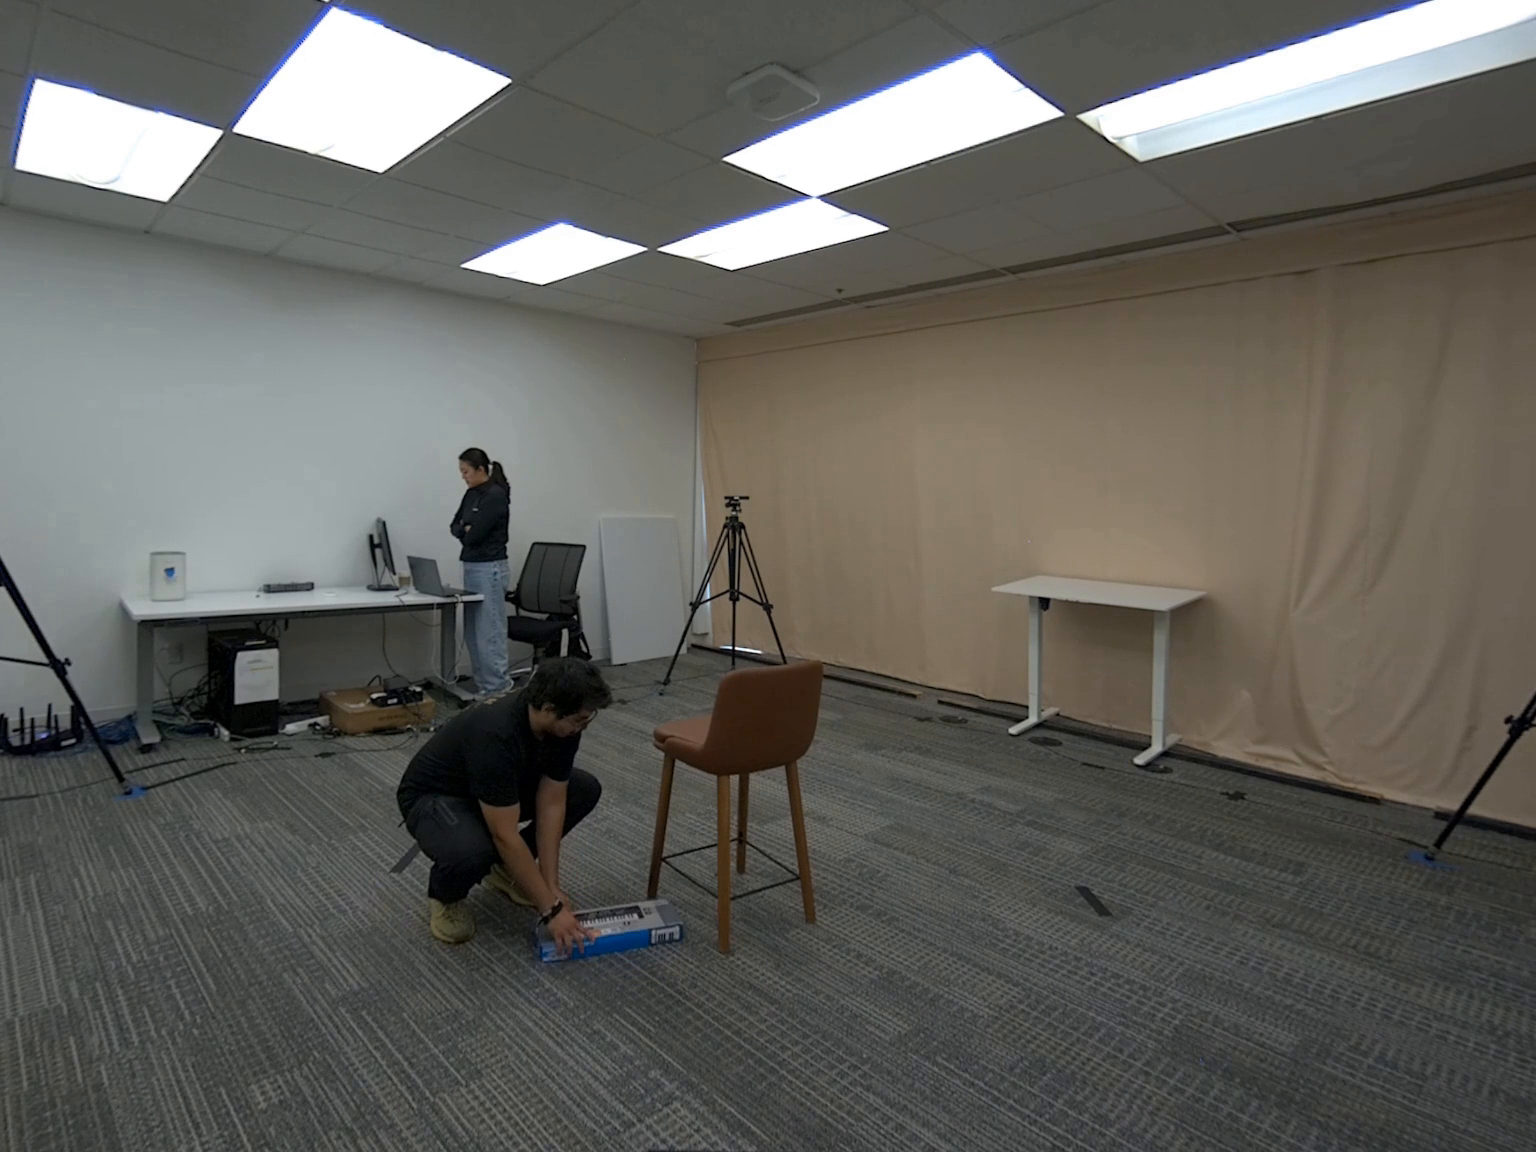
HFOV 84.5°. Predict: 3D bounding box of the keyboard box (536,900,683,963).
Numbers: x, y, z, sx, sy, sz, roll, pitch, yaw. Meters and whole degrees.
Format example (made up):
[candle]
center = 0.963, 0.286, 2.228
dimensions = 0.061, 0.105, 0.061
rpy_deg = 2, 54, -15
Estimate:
[keyboard box]
center = -0.525, 1.121, 2.624
dimensions = 0.430, 0.059, 0.179
rpy_deg = -1, 6, -19
